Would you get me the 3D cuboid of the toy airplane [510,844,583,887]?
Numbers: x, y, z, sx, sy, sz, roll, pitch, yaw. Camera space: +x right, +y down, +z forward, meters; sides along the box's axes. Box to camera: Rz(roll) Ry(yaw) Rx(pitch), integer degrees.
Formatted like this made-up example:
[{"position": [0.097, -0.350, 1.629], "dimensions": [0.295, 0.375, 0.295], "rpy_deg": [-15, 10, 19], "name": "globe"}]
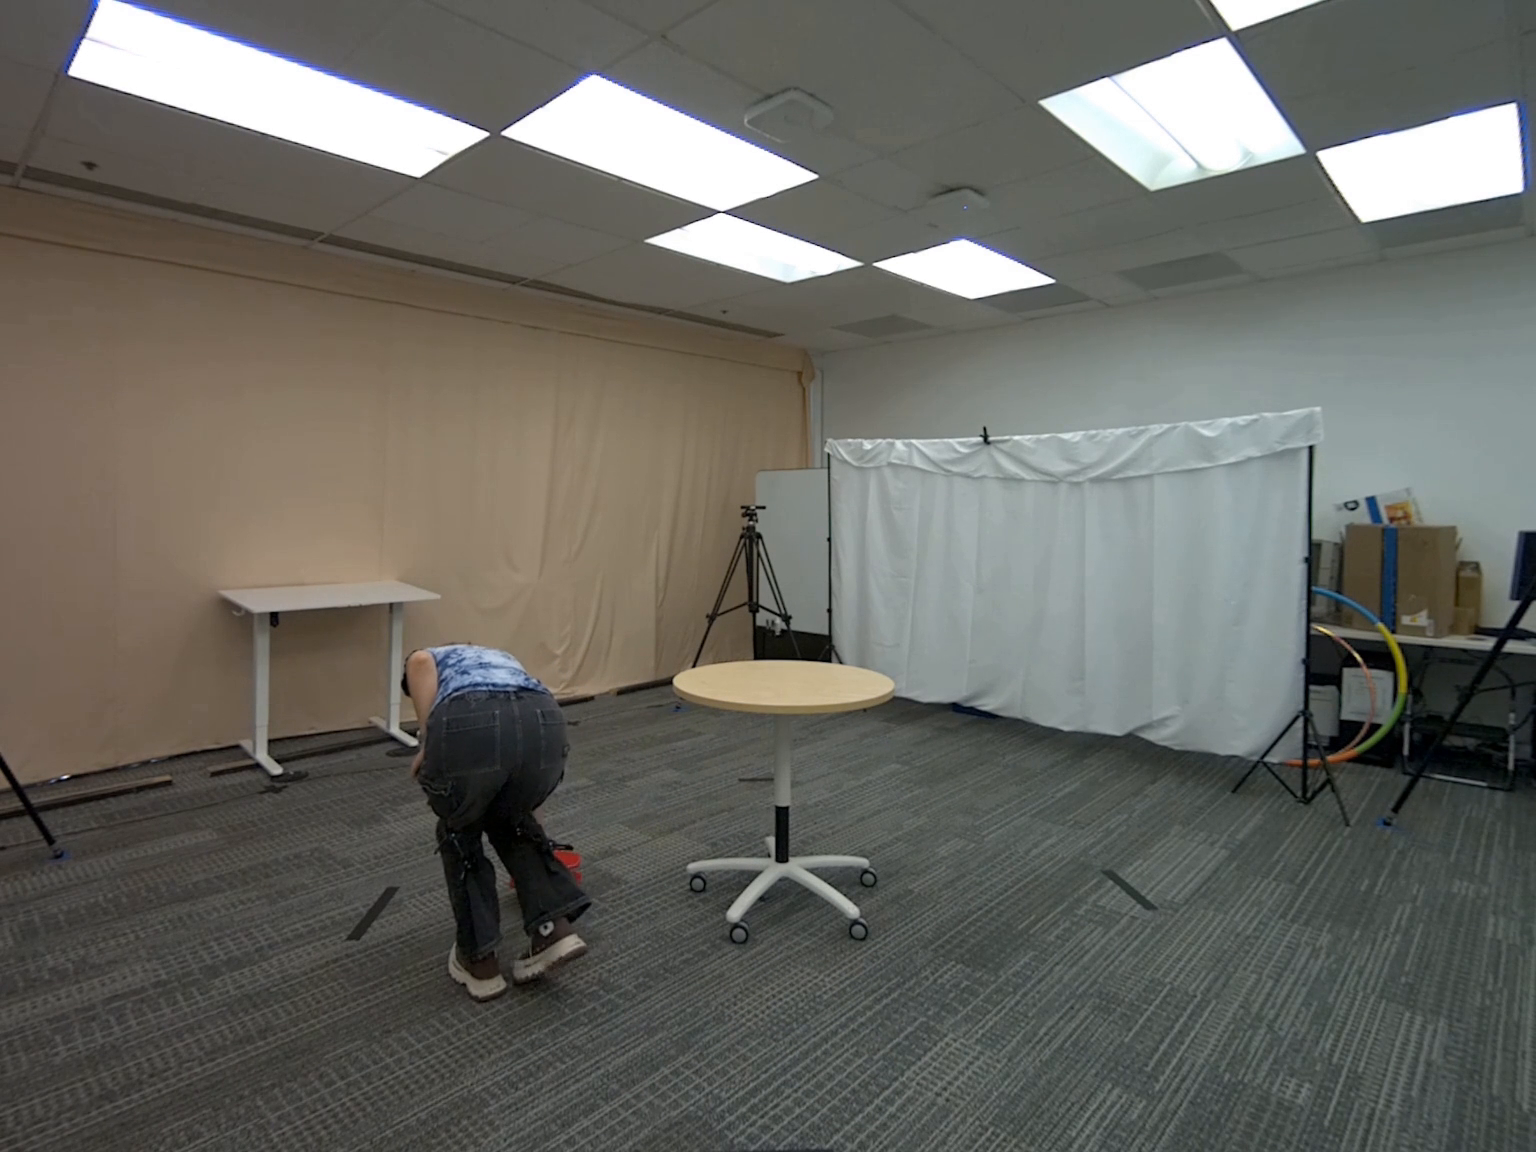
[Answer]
[{"position": [-0.778, 1.077, 2.964], "dimensions": [0.244, 0.156, 0.267], "rpy_deg": [-2, 4, -30], "name": "toy airplane"}]
